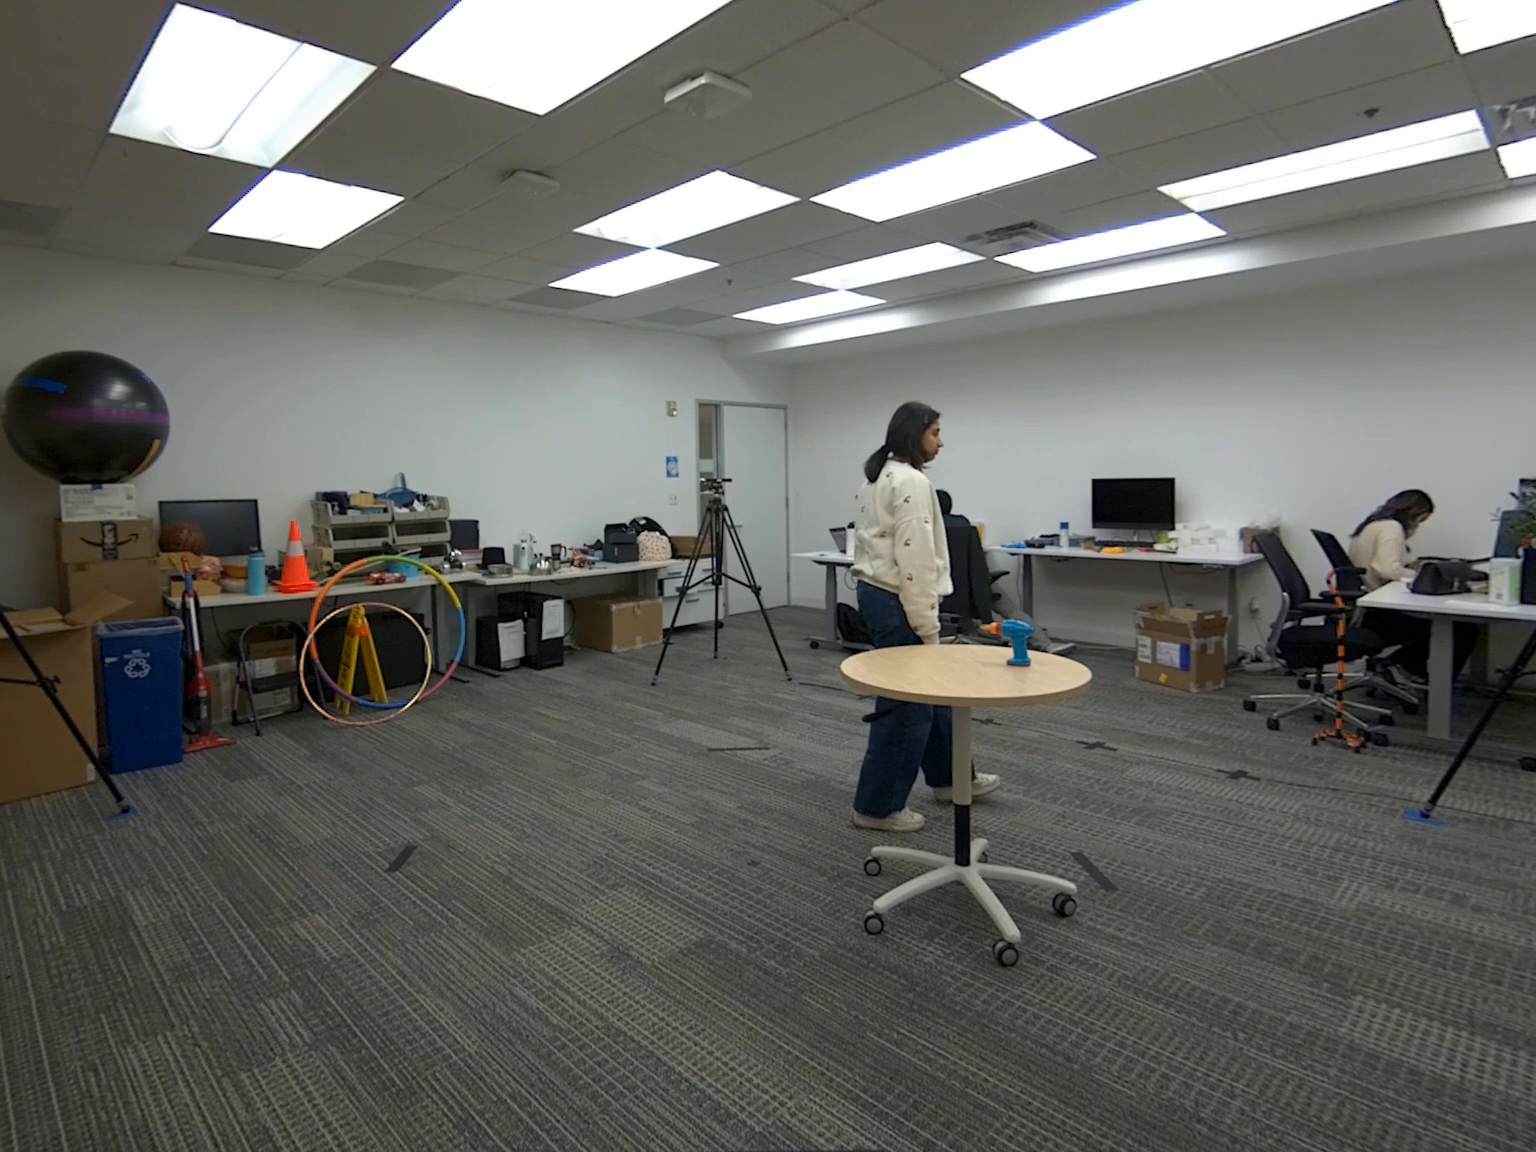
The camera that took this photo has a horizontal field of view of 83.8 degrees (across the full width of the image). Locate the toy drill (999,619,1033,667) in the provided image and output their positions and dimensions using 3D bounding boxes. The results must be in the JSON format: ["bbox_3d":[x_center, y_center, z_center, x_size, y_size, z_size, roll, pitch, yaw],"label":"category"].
[{"bbox_3d":[0.777,0.213,2.755,0.174,0.145,0.060,2,8,29],"label":"toy drill"}]
